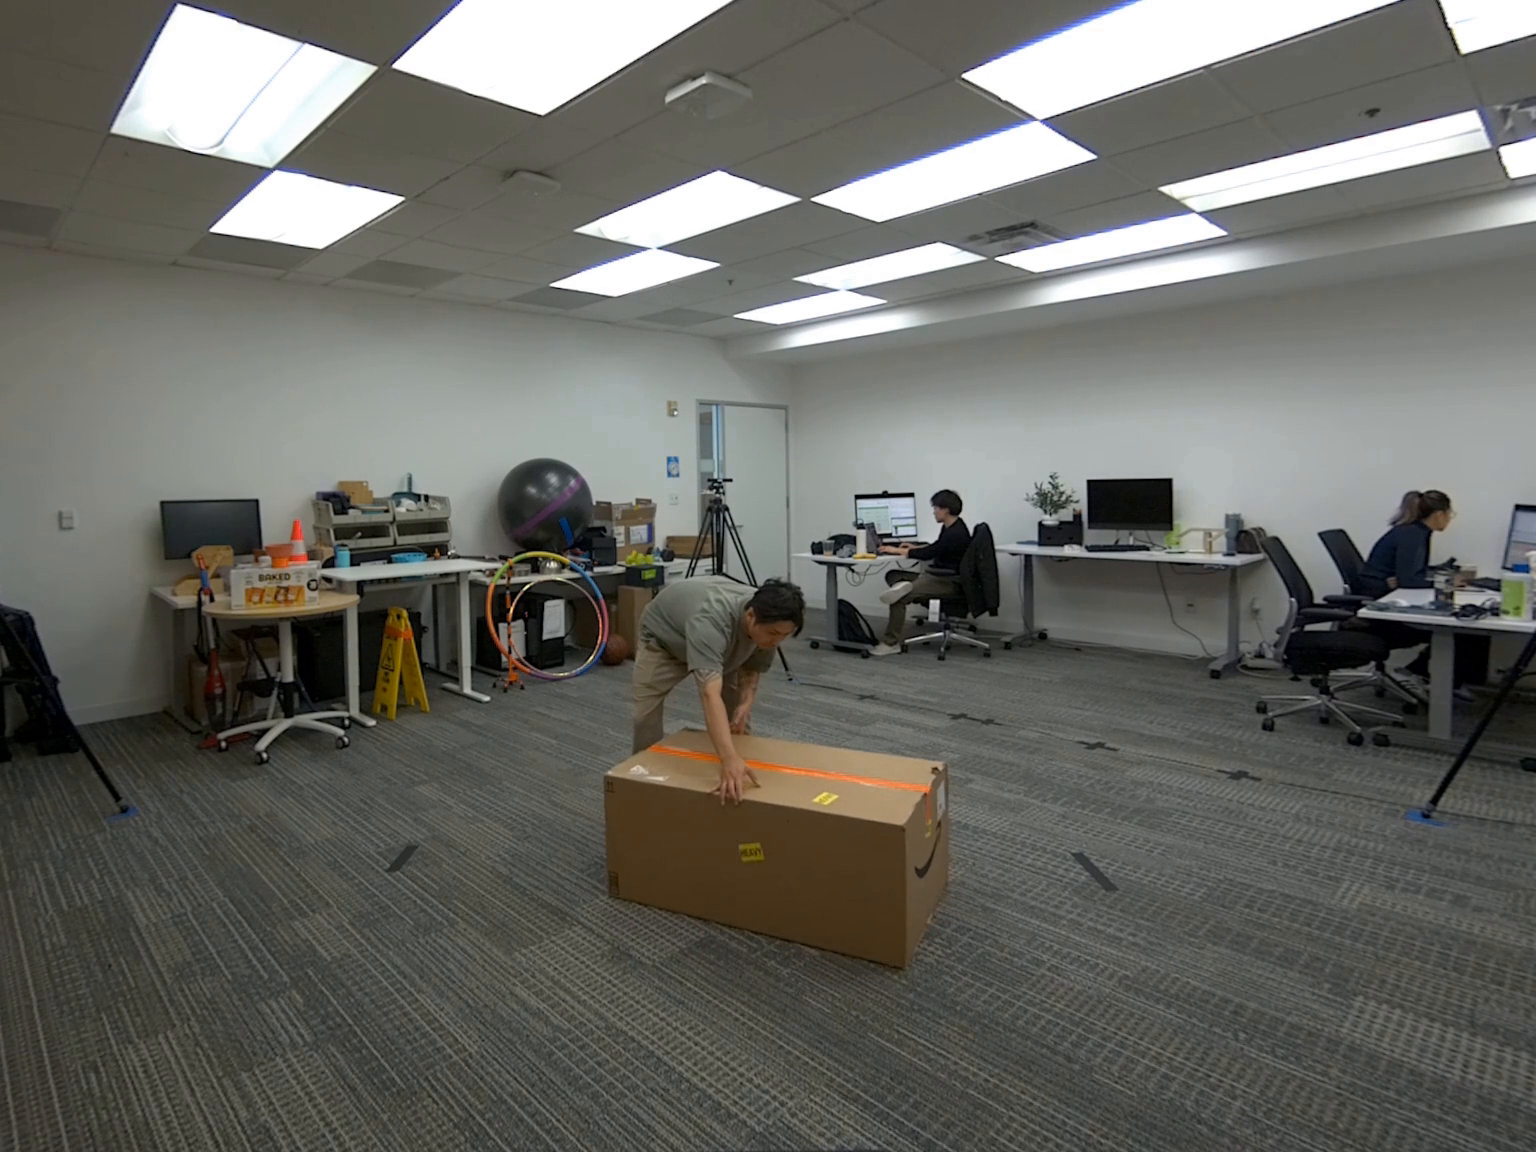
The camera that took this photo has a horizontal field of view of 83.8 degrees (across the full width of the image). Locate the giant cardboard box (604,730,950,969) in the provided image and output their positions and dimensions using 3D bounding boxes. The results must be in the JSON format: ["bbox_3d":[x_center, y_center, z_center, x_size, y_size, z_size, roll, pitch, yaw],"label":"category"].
[{"bbox_3d":[0.037,0.852,2.883,1.050,0.425,0.566,2,5,26],"label":"giant cardboard box"}]
